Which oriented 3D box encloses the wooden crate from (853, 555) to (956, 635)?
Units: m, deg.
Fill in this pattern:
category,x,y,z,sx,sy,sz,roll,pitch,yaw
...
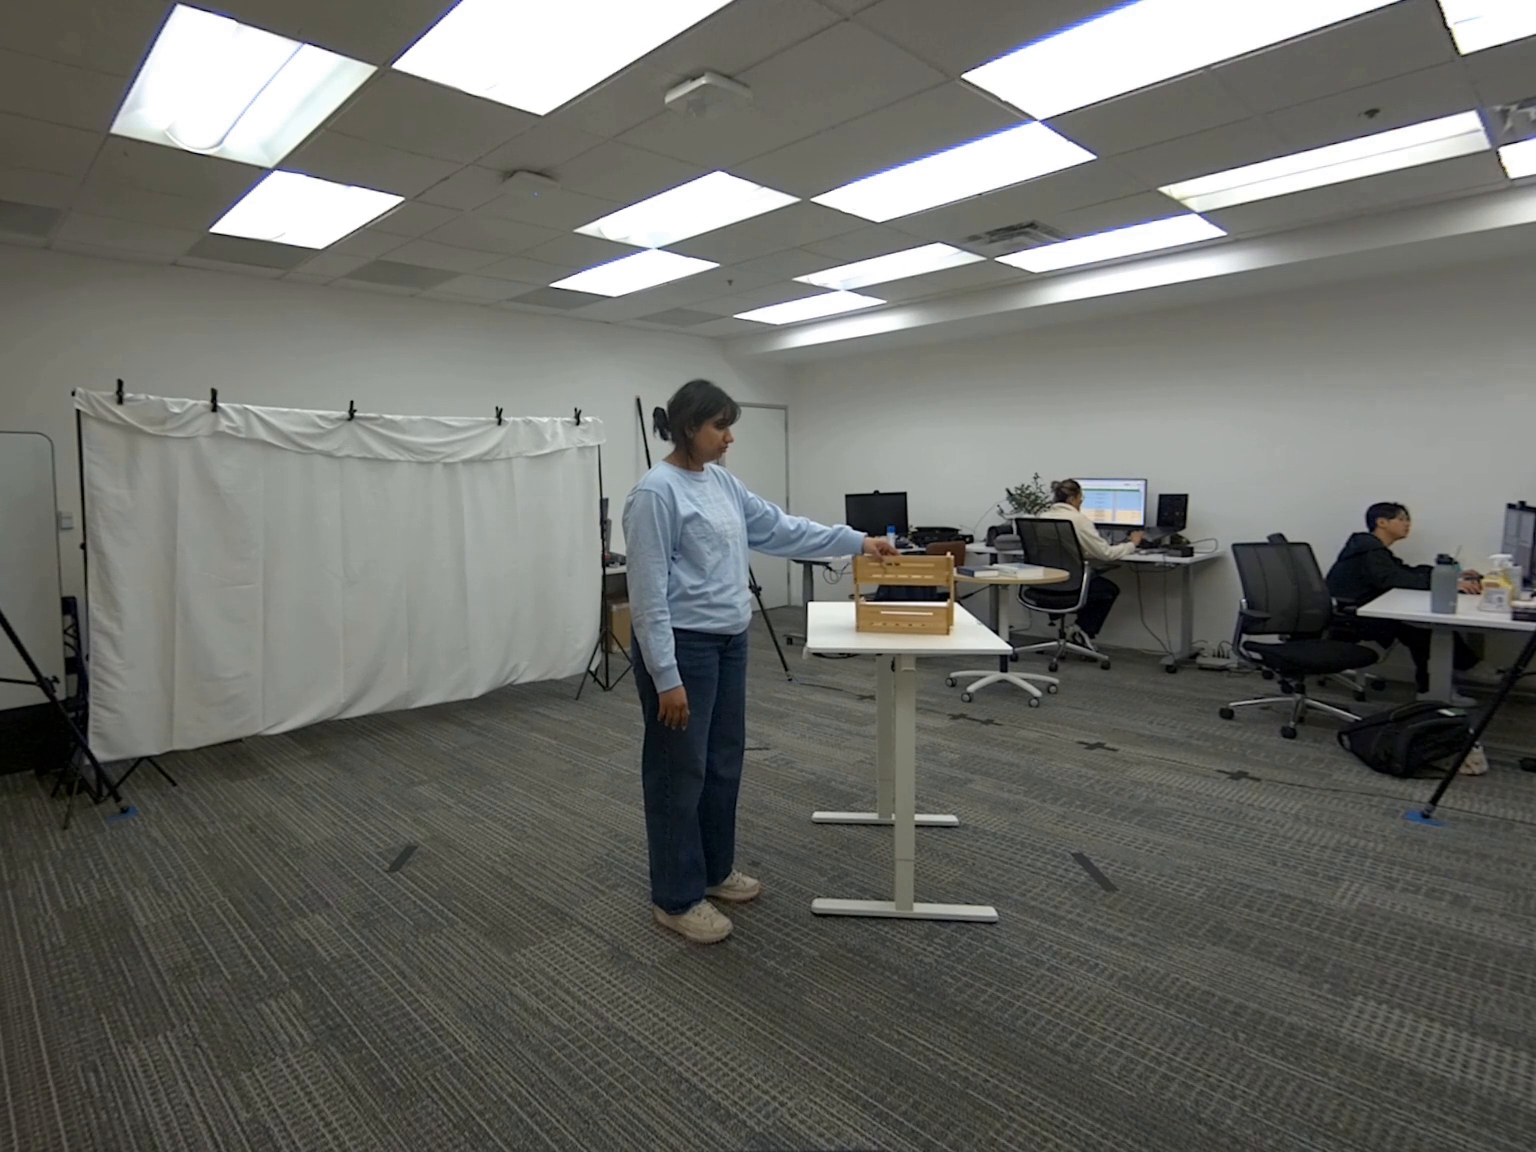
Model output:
category,x,y,z,sx,sy,sz,roll,pitch,yaw
wooden crate,0.458,0.044,2.880,0.330,0.272,0.299,1,7,16
